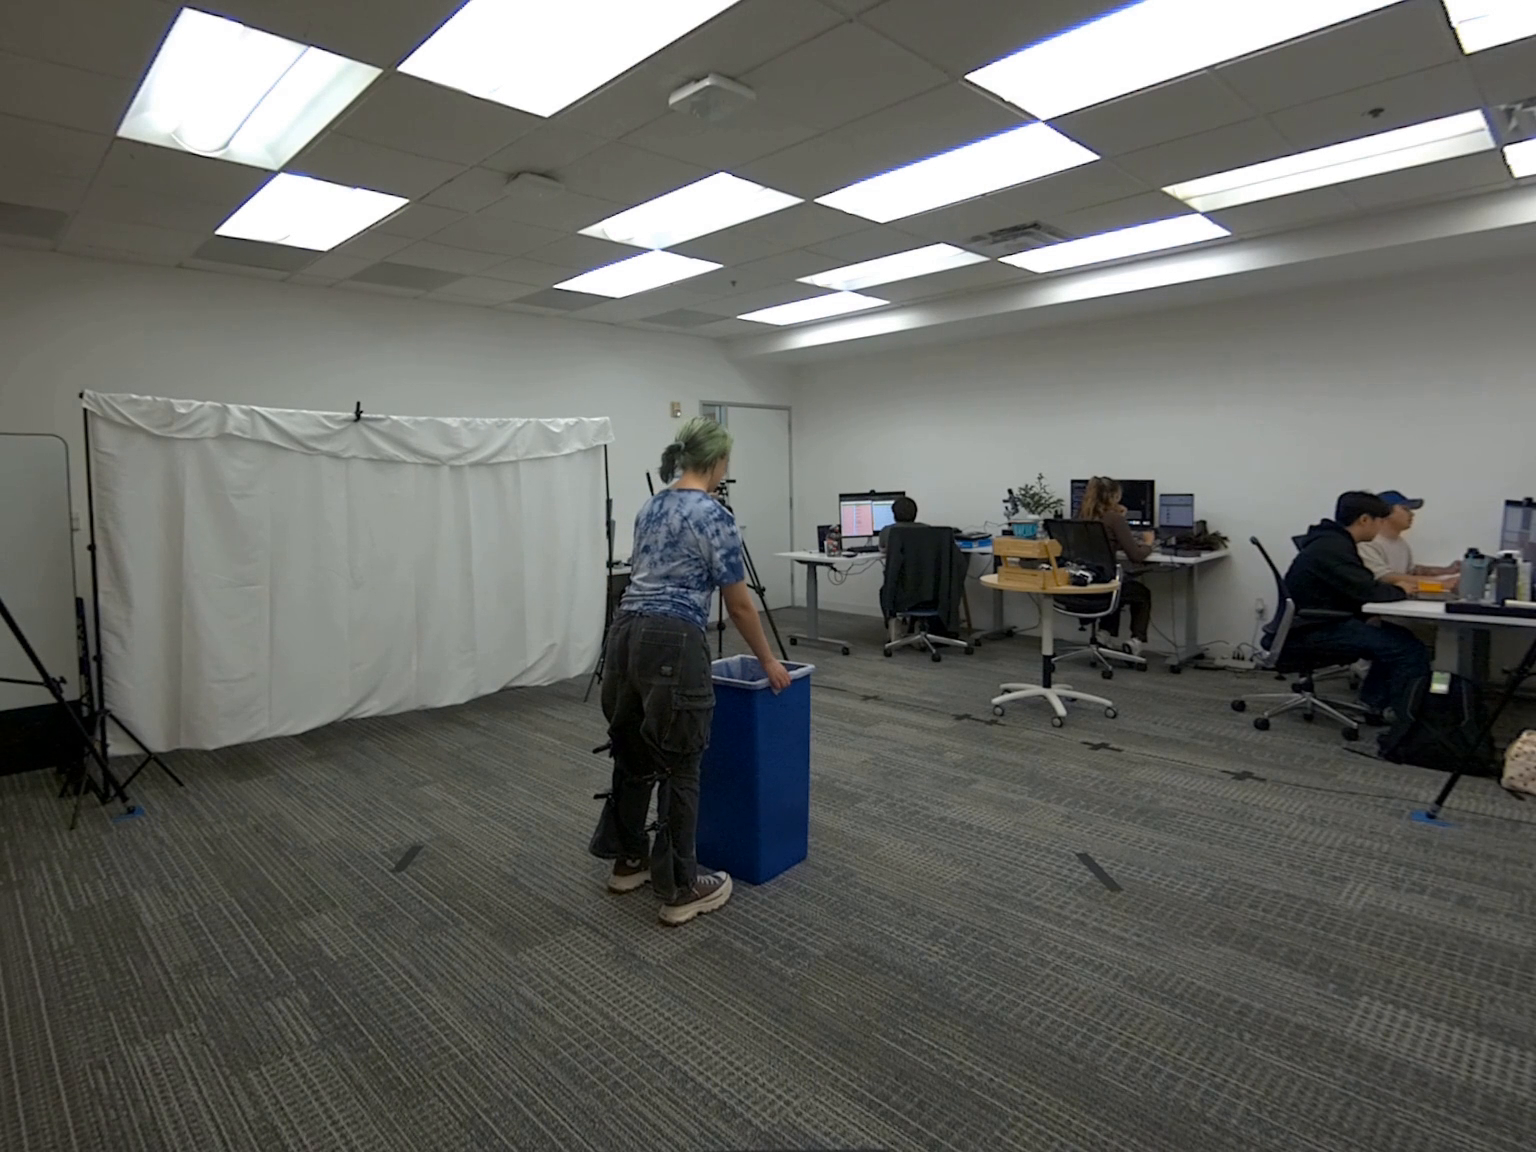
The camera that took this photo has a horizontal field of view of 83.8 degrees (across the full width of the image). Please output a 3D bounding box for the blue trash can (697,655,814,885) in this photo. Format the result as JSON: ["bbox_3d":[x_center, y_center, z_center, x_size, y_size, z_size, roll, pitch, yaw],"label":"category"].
[{"bbox_3d":[-0.066,0.686,3.127,0.385,0.711,0.368,3,5,39],"label":"blue trash can"}]
